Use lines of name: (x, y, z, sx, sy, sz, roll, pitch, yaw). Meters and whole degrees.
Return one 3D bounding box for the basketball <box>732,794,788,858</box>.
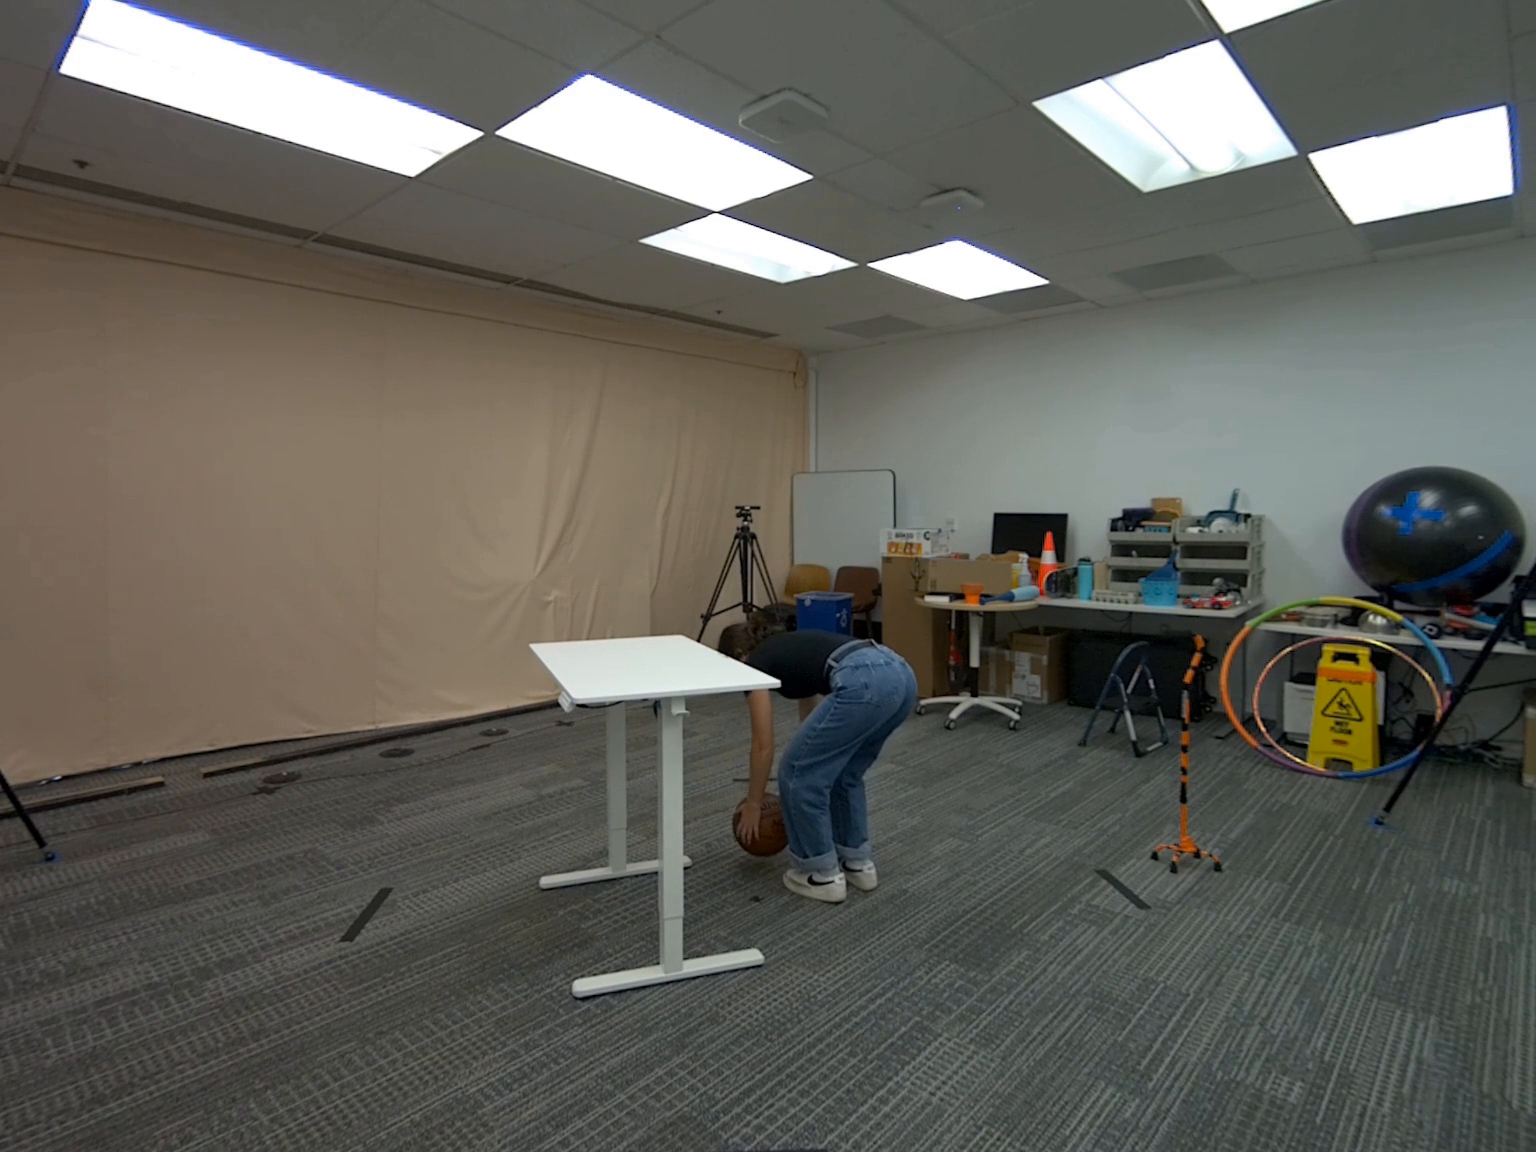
basketball: (-0.009, 0.962, 3.254, 0.236, 0.235, 0.237, 0, 4, -2)
